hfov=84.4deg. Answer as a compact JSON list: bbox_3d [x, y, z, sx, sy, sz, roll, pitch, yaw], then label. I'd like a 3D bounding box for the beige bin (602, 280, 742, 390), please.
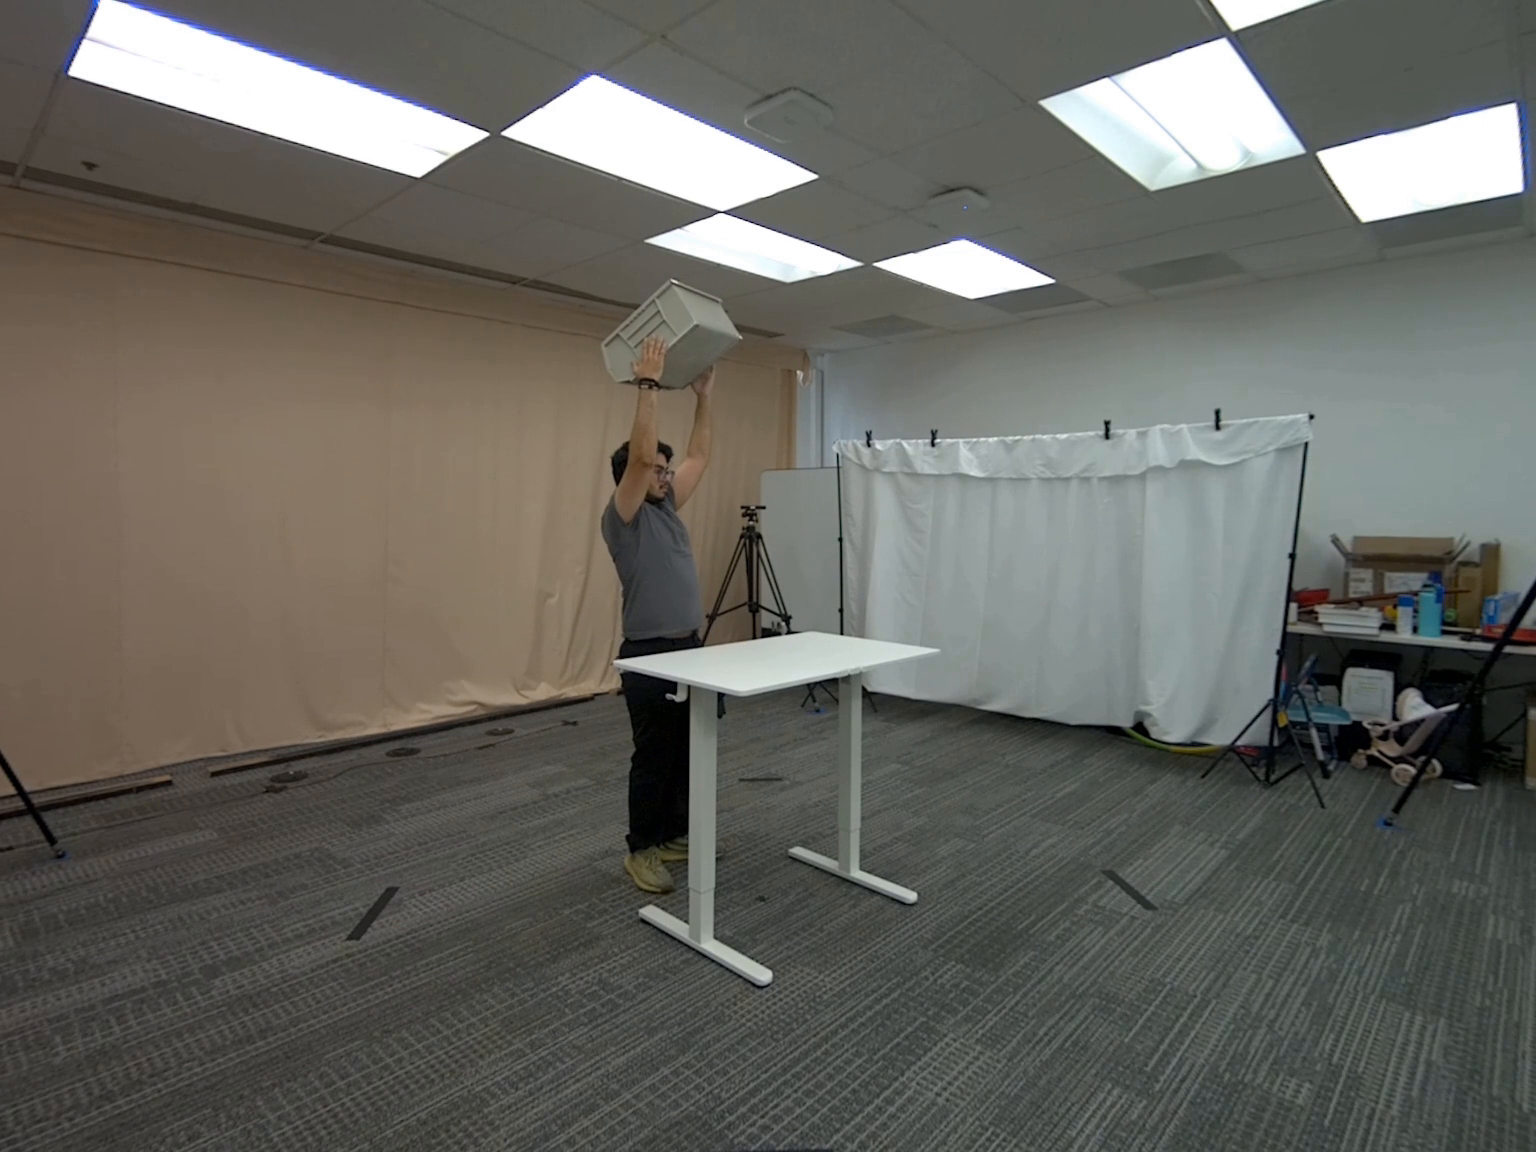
[{"bbox_3d":[-0.343,-0.847,3.071,0.382,0.190,0.414,-34,-6,23],"label":"beige bin"}]
